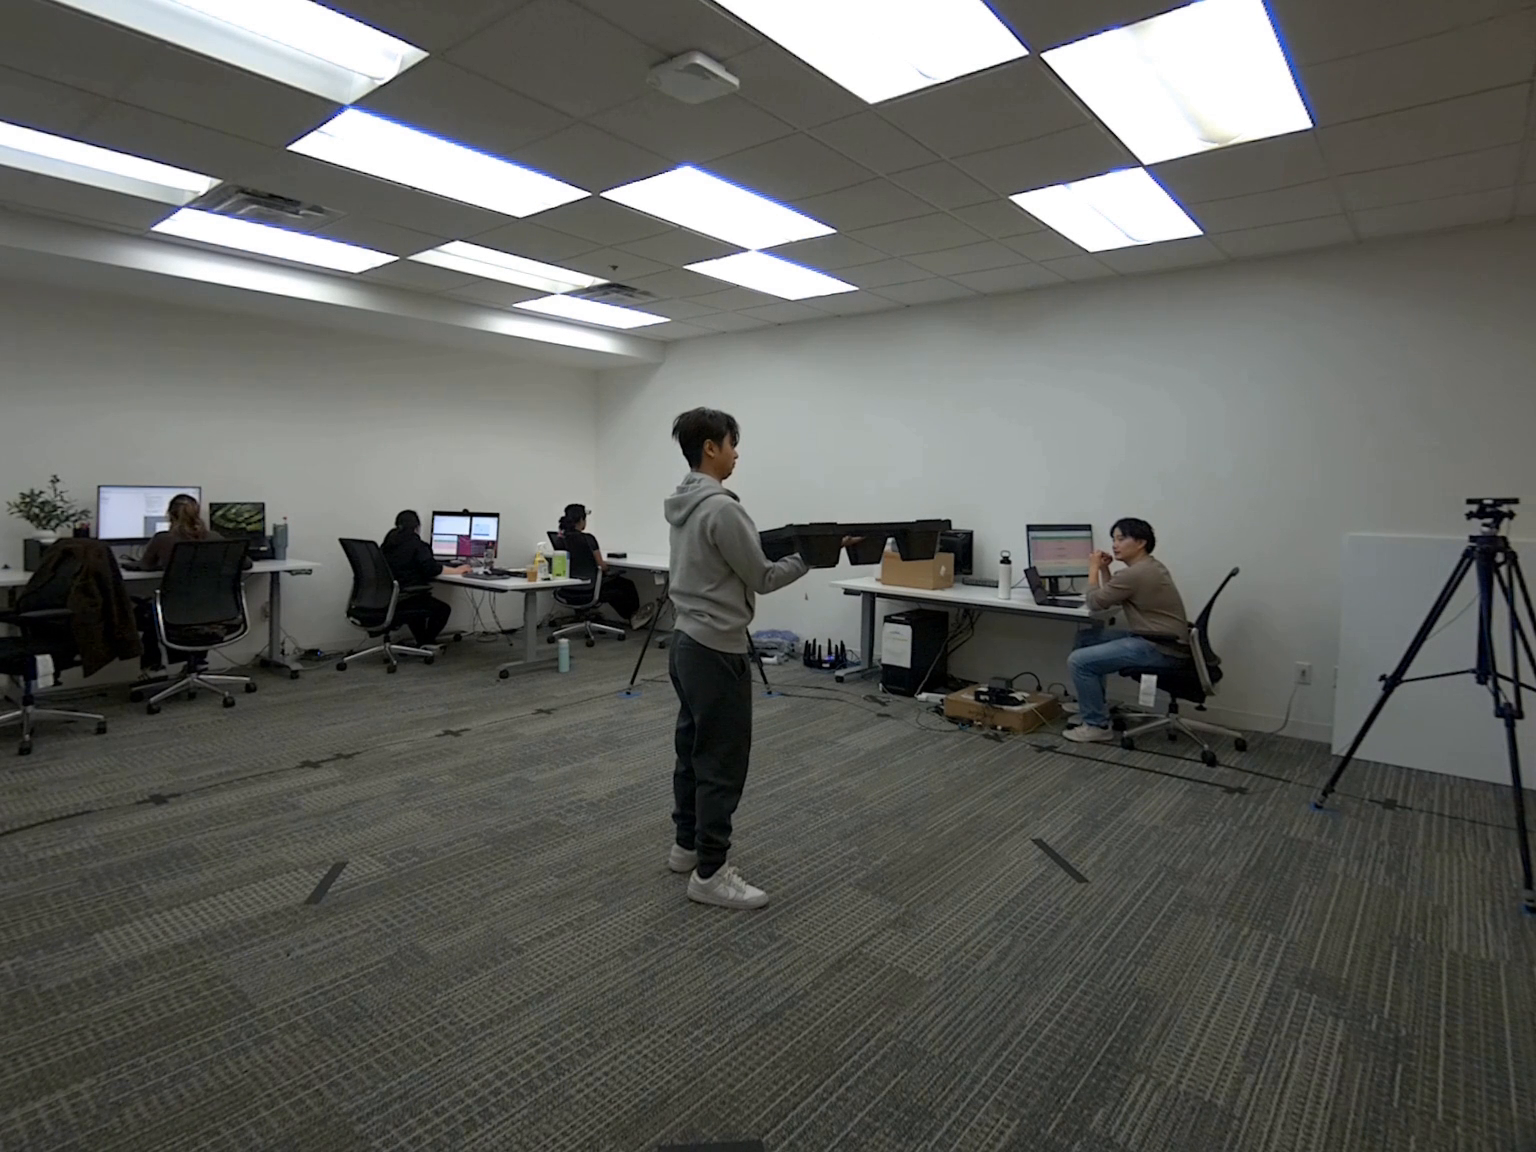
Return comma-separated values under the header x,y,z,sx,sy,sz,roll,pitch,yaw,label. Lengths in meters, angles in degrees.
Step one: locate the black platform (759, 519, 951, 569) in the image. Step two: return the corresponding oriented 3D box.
x,y,z,sx,sy,sz,roll,pitch,yaw,label
0.190,-0.105,3.134,0.592,0.144,0.821,-3,-1,-24,black platform
